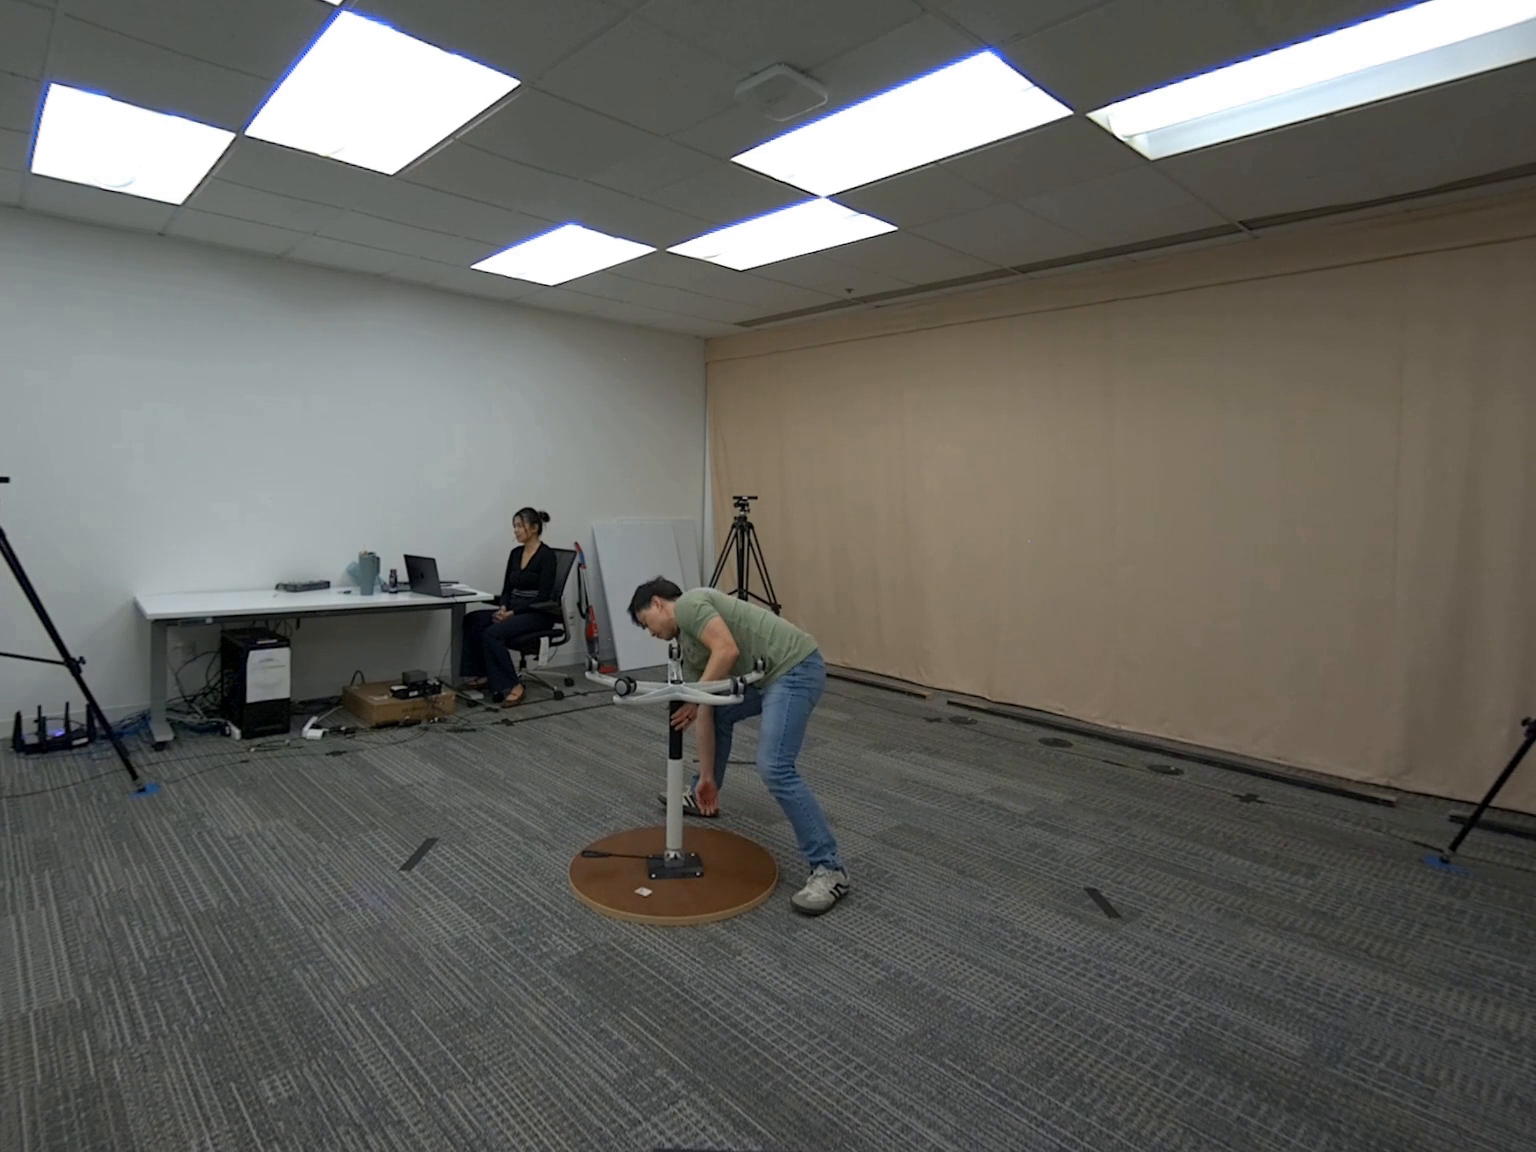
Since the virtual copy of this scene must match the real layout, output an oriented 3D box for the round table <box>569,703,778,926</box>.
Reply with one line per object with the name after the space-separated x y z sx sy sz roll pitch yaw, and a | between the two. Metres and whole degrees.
-0.348 0.703 3.080 0.763 0.791 0.767 2 5 -2 | round table
